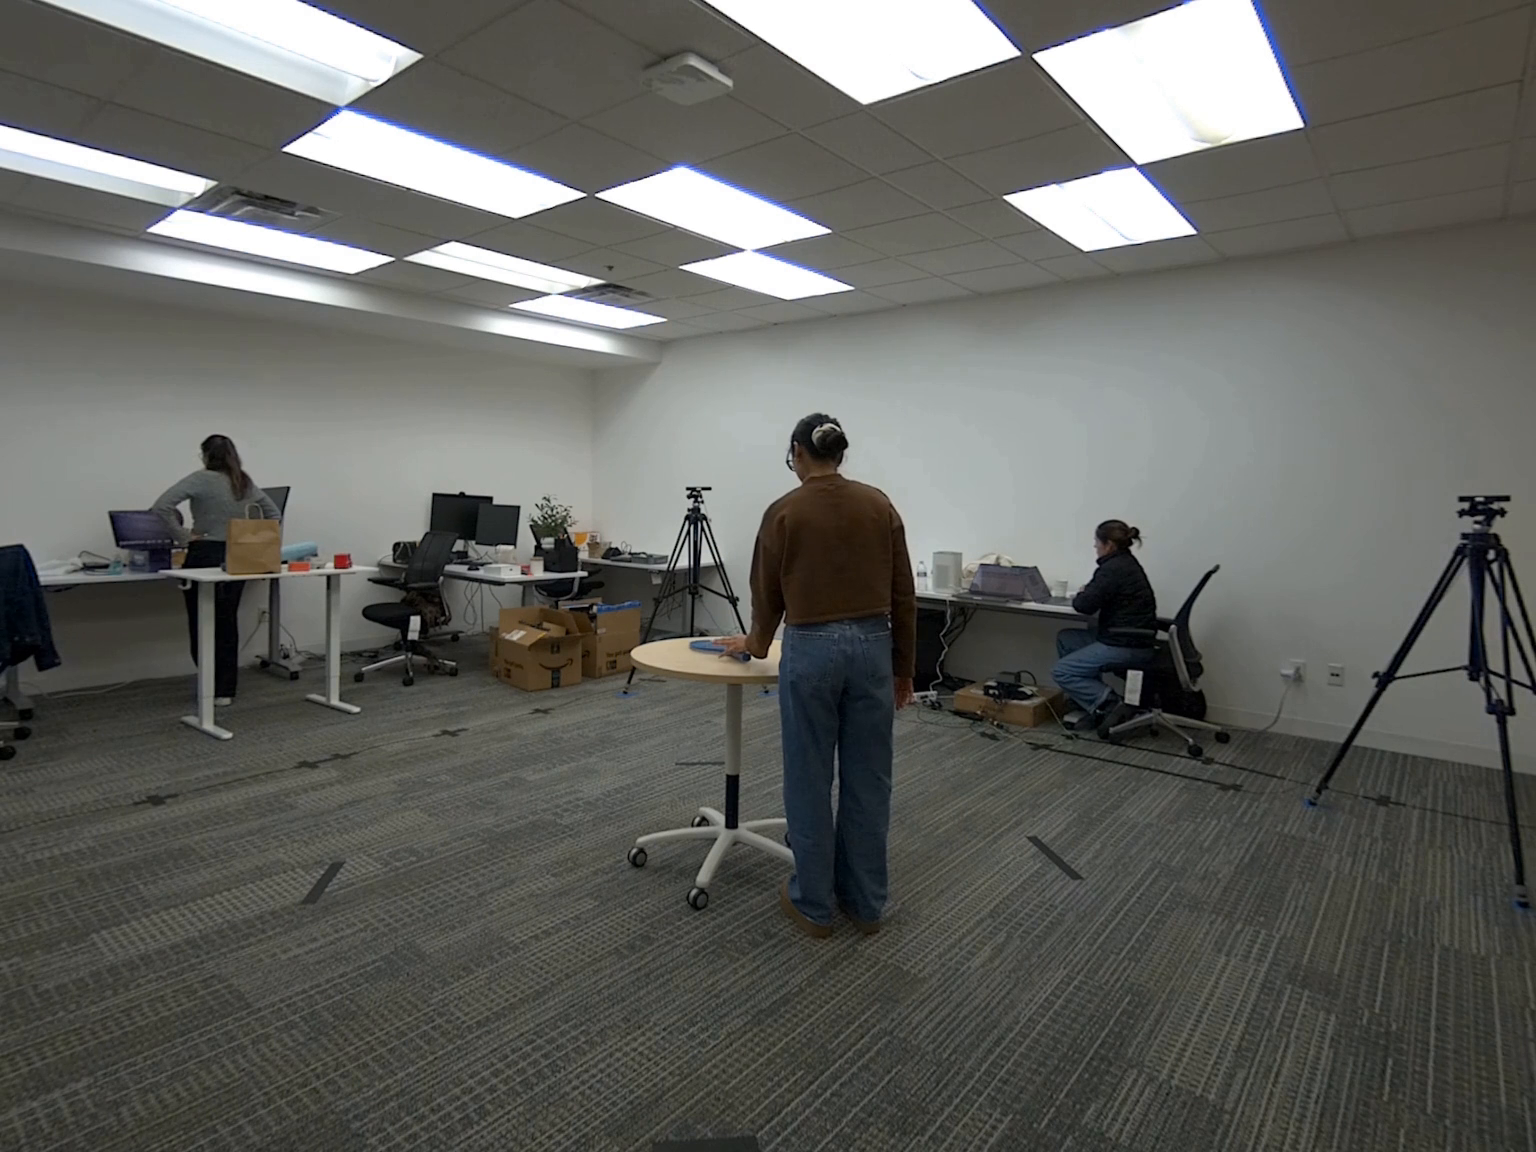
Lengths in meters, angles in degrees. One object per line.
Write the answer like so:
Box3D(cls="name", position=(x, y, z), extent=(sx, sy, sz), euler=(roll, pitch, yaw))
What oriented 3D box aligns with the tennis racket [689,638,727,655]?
Box3D(cls="tennis racket", position=(-0.171, 0.264, 3.148), extent=(0.209, 0.032, 0.442), euler=(0, 4, -20))
